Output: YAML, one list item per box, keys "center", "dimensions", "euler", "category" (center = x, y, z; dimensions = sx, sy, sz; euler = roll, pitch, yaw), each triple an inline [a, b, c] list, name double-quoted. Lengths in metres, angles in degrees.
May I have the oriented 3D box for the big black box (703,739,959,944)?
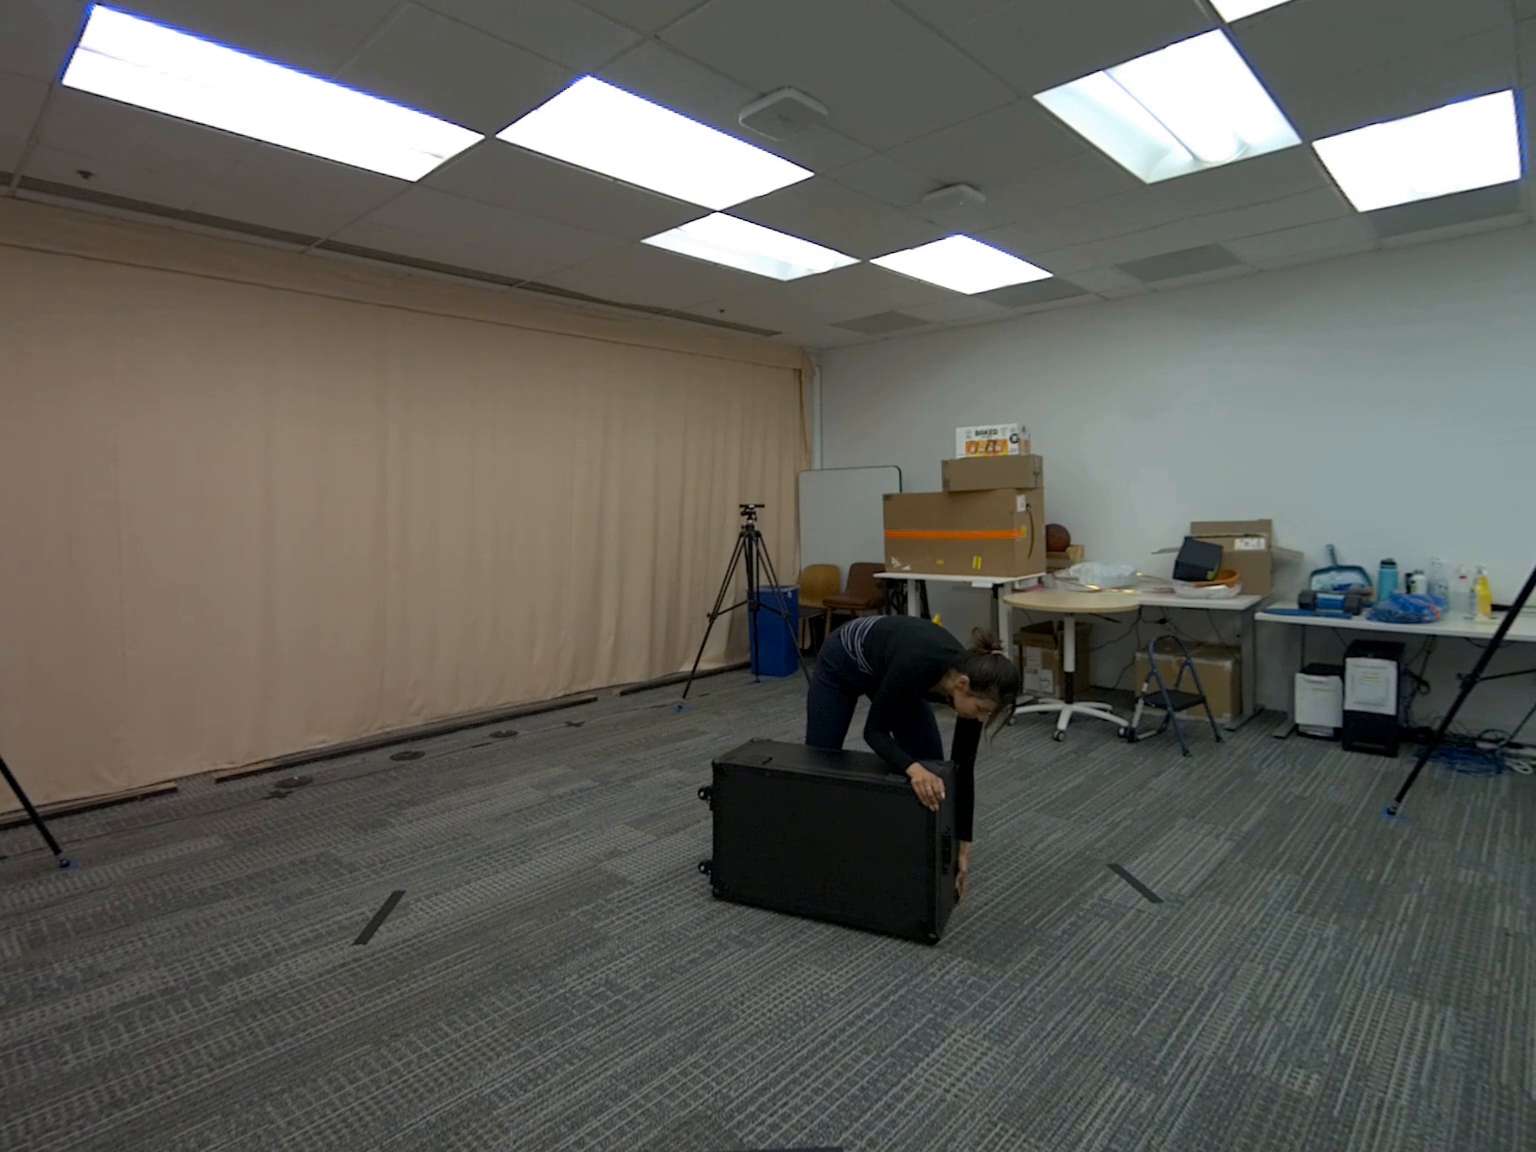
- center: [0.207, 0.883, 2.964]
  dimensions: [0.883, 0.520, 0.387]
  euler: [1, 3, 25]
  category: "big black box"
